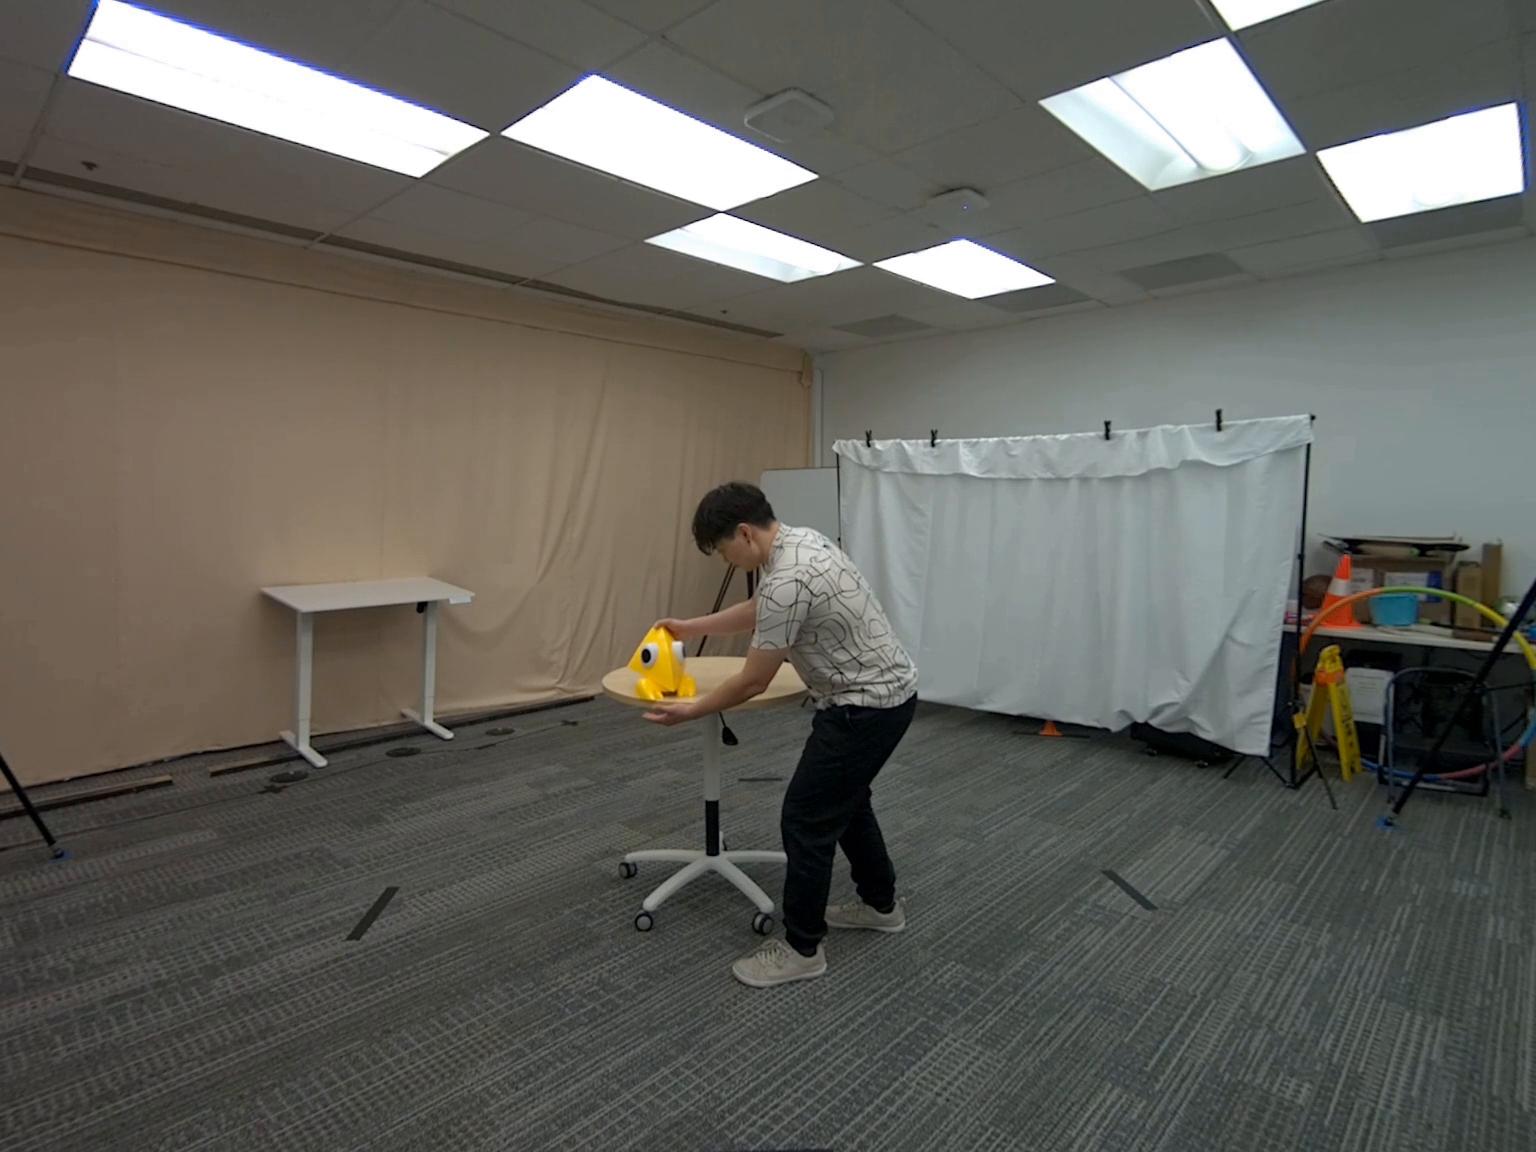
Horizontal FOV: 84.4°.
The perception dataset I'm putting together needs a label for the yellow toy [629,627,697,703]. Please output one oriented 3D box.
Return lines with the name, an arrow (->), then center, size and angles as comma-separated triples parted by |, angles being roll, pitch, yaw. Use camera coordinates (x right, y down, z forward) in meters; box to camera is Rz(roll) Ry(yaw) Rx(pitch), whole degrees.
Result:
yellow toy -> -0.337, 0.271, 2.754 | 0.201, 0.230, 0.197 | -1, 4, -21
